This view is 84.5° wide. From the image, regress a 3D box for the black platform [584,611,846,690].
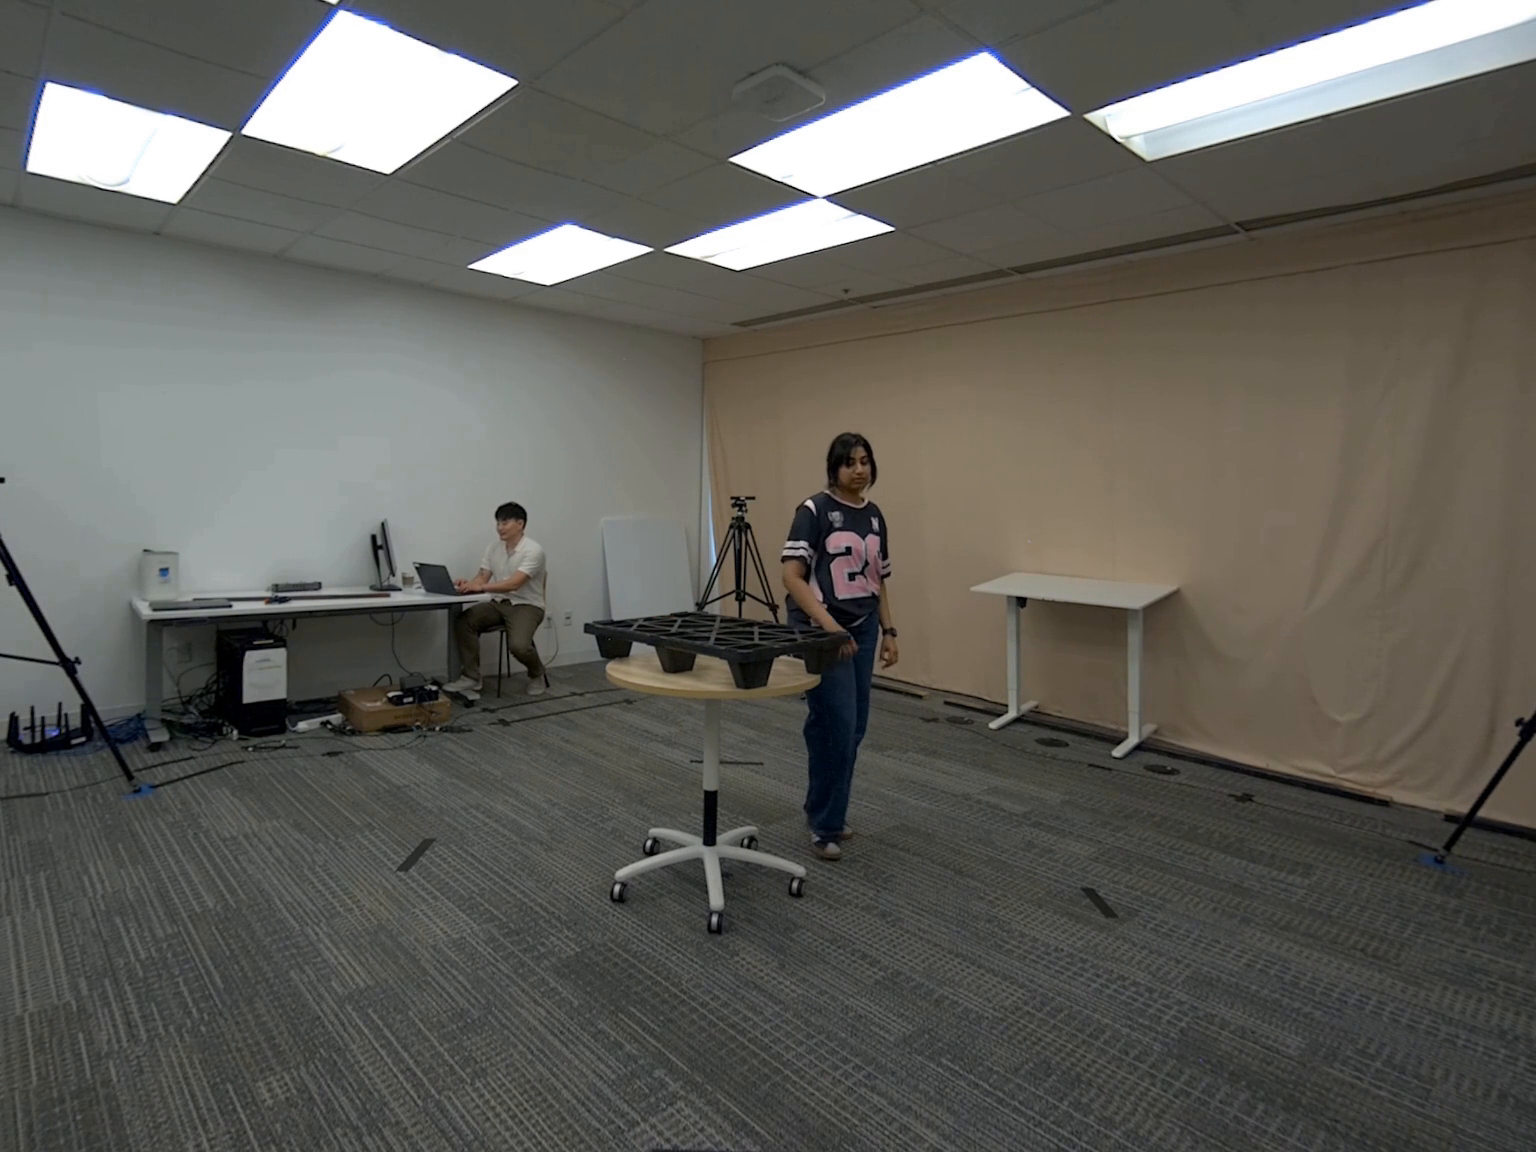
[{"bbox_3d":[-0.198,0.260,3.065,0.826,0.143,0.591,6,6,42],"label":"black platform"}]
